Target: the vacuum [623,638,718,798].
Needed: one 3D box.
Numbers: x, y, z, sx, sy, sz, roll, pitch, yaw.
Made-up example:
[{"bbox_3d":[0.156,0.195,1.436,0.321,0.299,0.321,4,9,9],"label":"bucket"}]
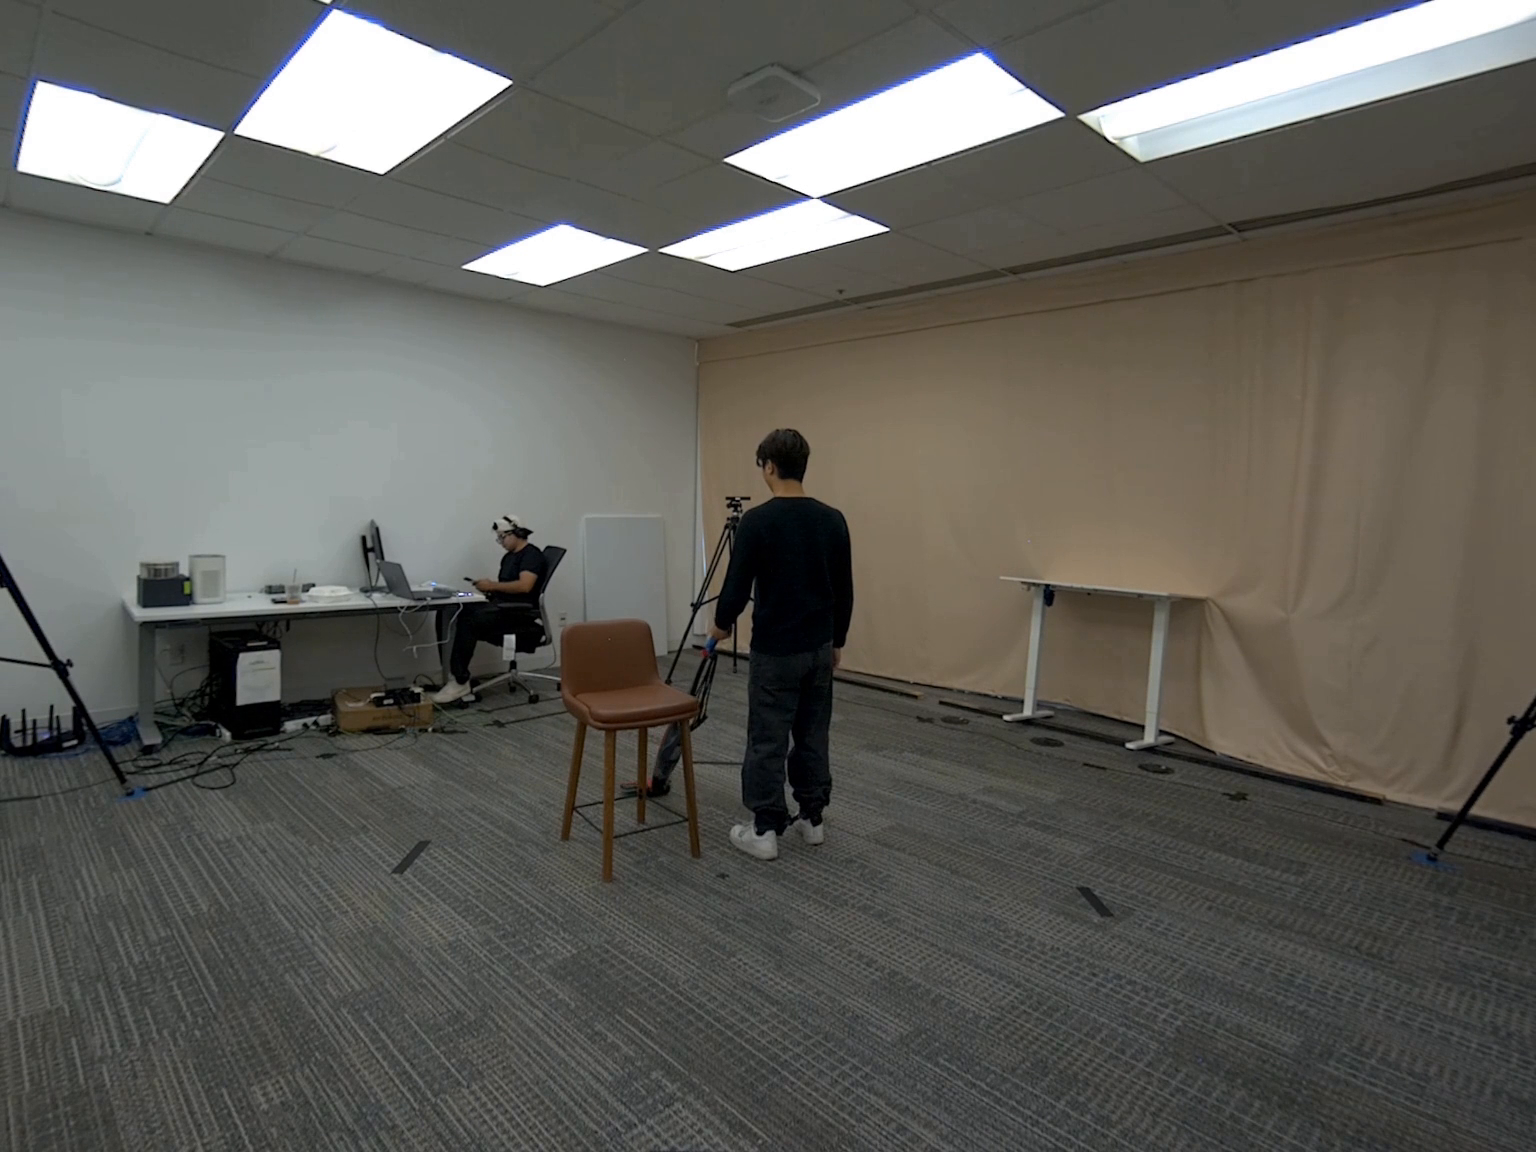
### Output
[{"bbox_3d":[-0.367,0.604,3.727,0.247,1.040,0.148,1,39,-36],"label":"vacuum"}]
